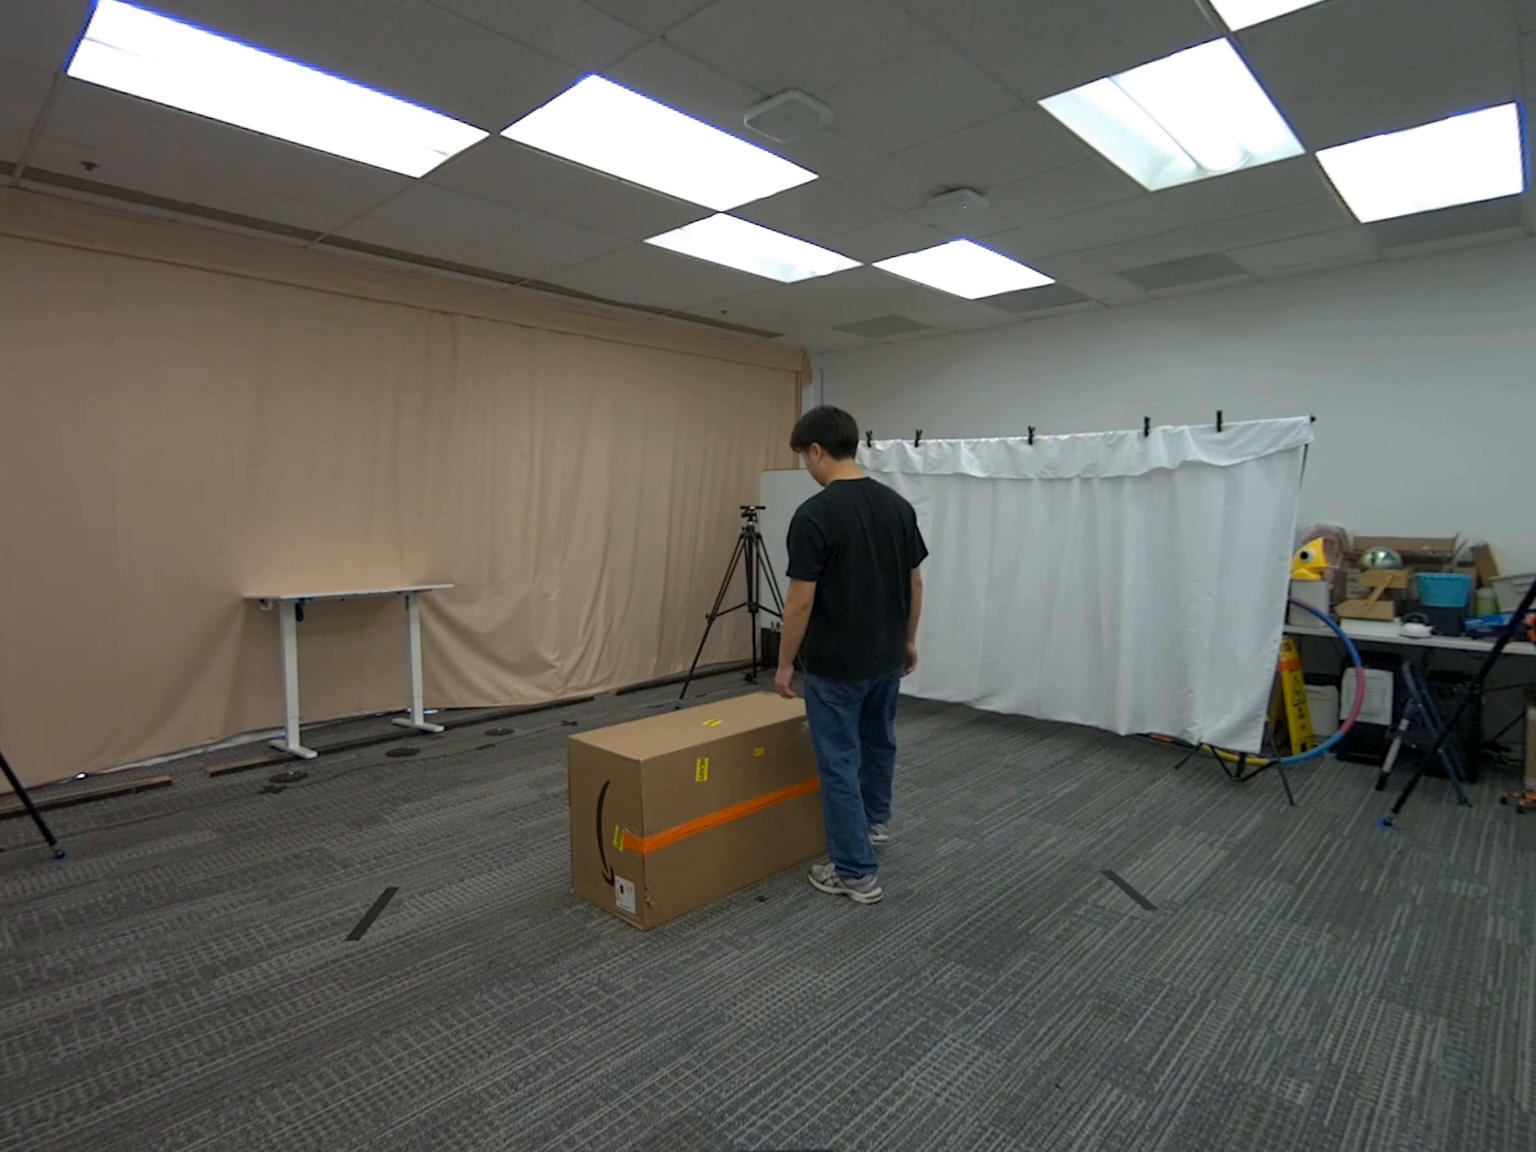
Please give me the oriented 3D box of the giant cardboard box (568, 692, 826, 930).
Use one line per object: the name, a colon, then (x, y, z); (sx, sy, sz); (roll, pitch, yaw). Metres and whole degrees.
giant cardboard box: (-0.215, 0.839, 3.235); (0.462, 0.582, 0.996); (4, 7, 44)
